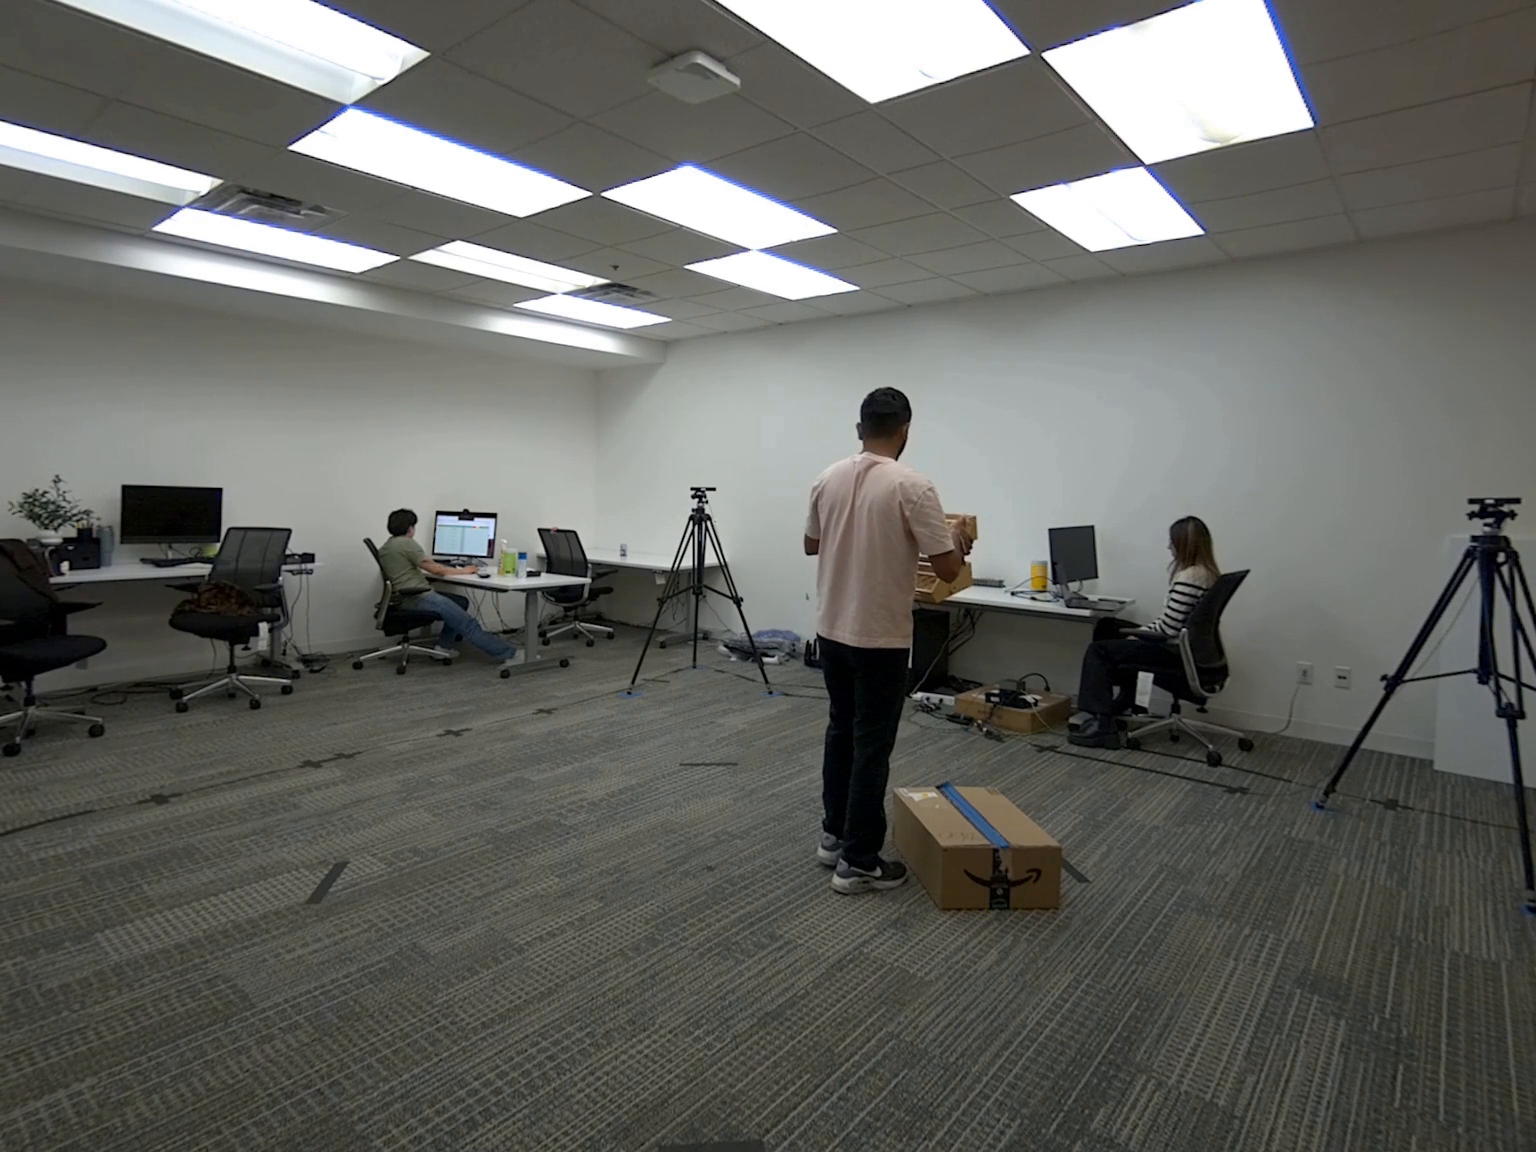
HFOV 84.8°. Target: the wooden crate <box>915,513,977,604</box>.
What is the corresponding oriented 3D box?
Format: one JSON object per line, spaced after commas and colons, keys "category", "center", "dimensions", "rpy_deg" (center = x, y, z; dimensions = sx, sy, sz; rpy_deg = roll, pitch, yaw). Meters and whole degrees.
{"category": "wooden crate", "center": [0.561, -0.083, 3.205], "dimensions": [0.295, 0.270, 0.336], "rpy_deg": [-17, 16, -38]}
